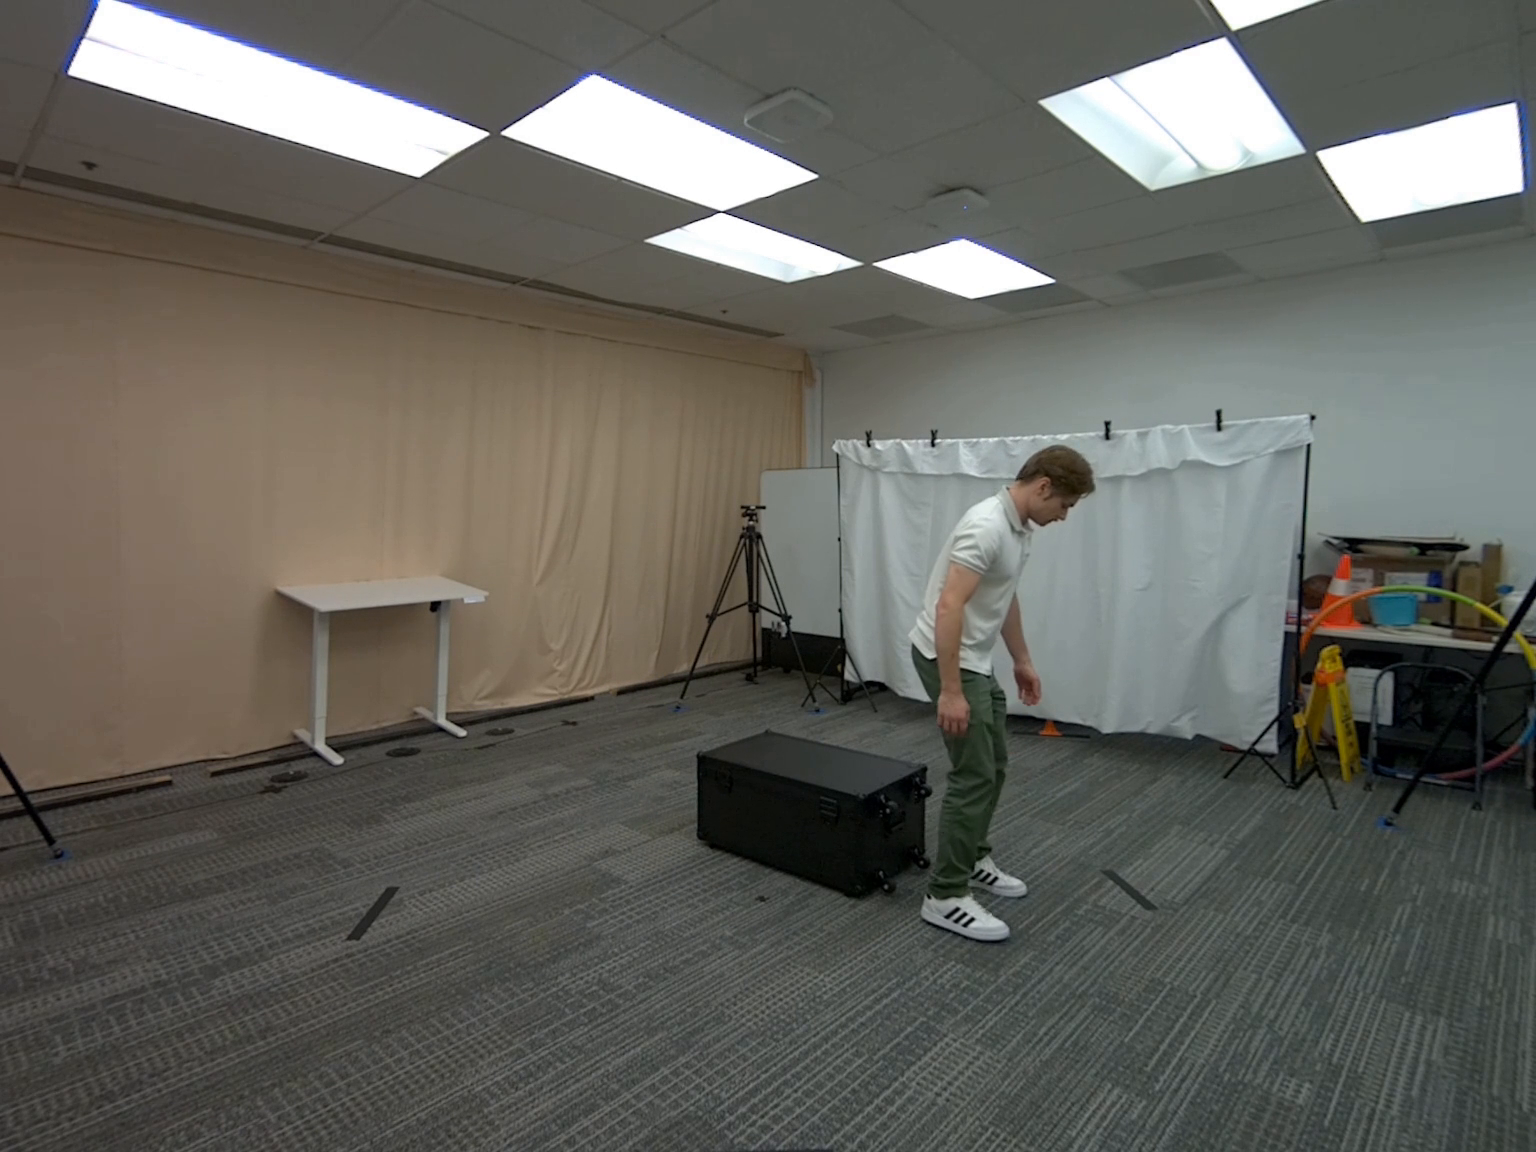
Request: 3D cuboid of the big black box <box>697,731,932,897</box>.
[{"bbox_3d":[0.192,0.916,3.347,0.897,0.384,0.507,4,5,39],"label":"big black box"}]
